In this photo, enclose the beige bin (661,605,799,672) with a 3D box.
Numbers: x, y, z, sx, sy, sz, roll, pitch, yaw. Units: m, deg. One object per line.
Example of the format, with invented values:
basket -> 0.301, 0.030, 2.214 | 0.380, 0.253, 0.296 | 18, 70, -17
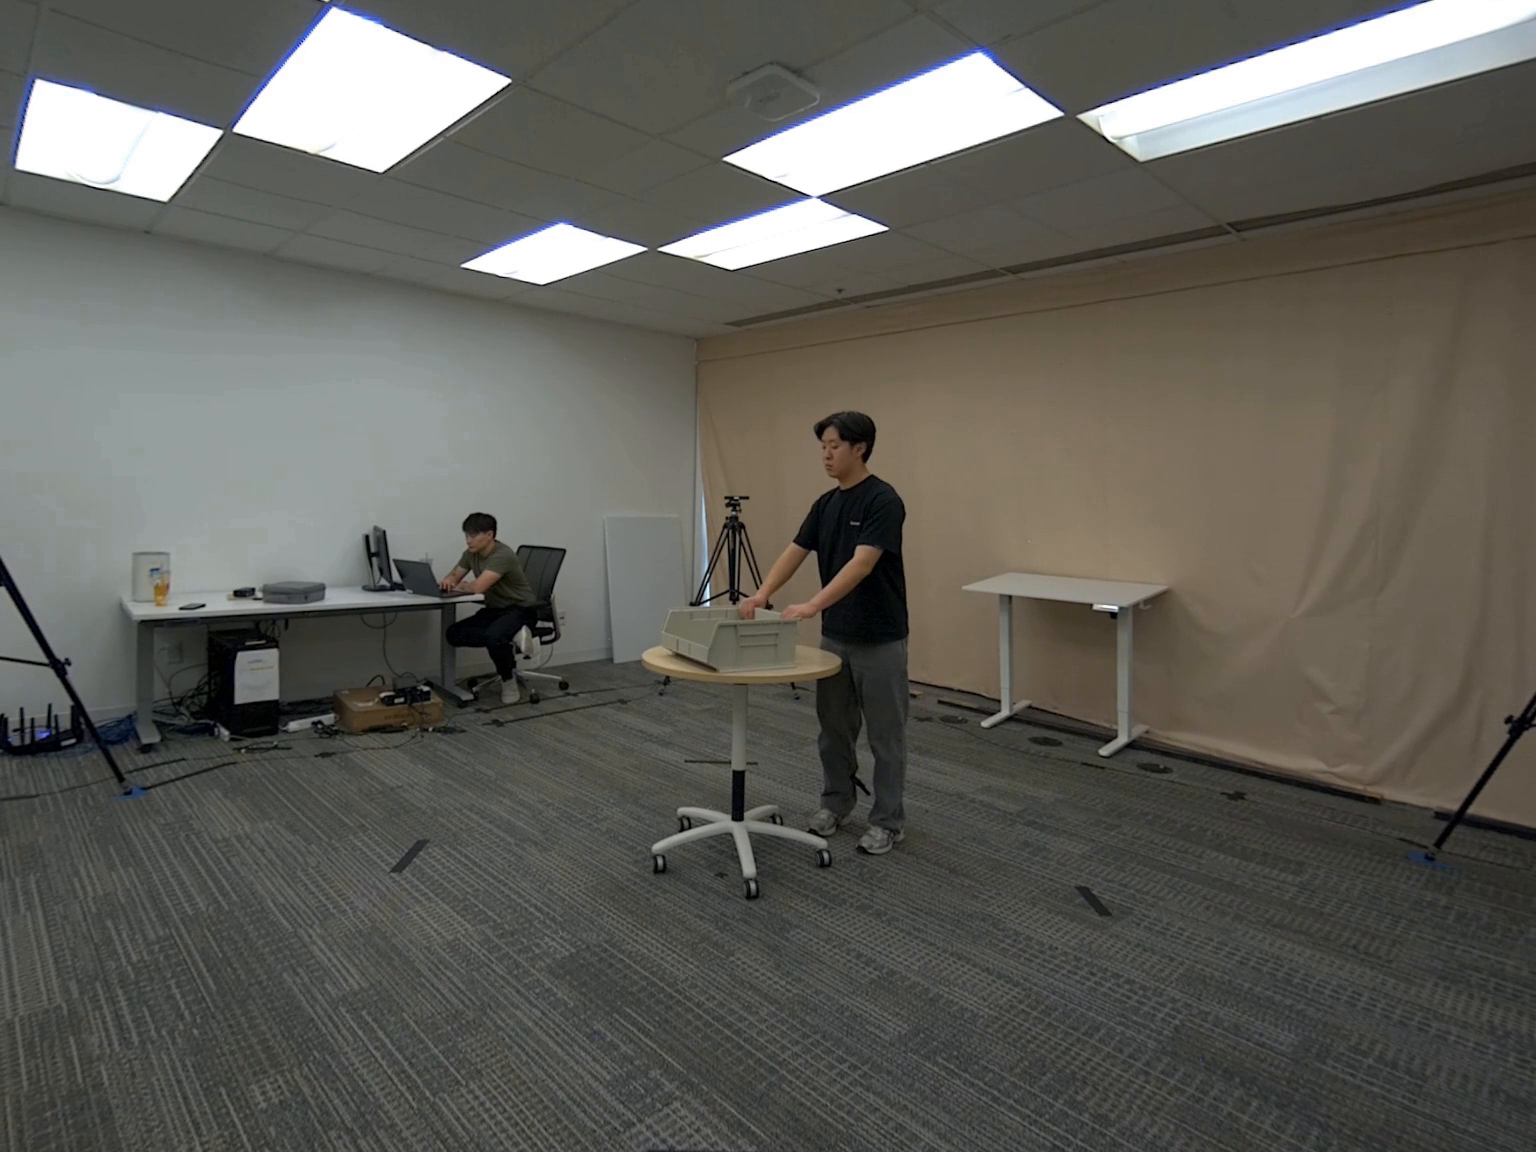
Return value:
beige bin -> -0.149, 0.229, 3.133 | 0.370, 0.189, 0.431 | 1, 3, -29
